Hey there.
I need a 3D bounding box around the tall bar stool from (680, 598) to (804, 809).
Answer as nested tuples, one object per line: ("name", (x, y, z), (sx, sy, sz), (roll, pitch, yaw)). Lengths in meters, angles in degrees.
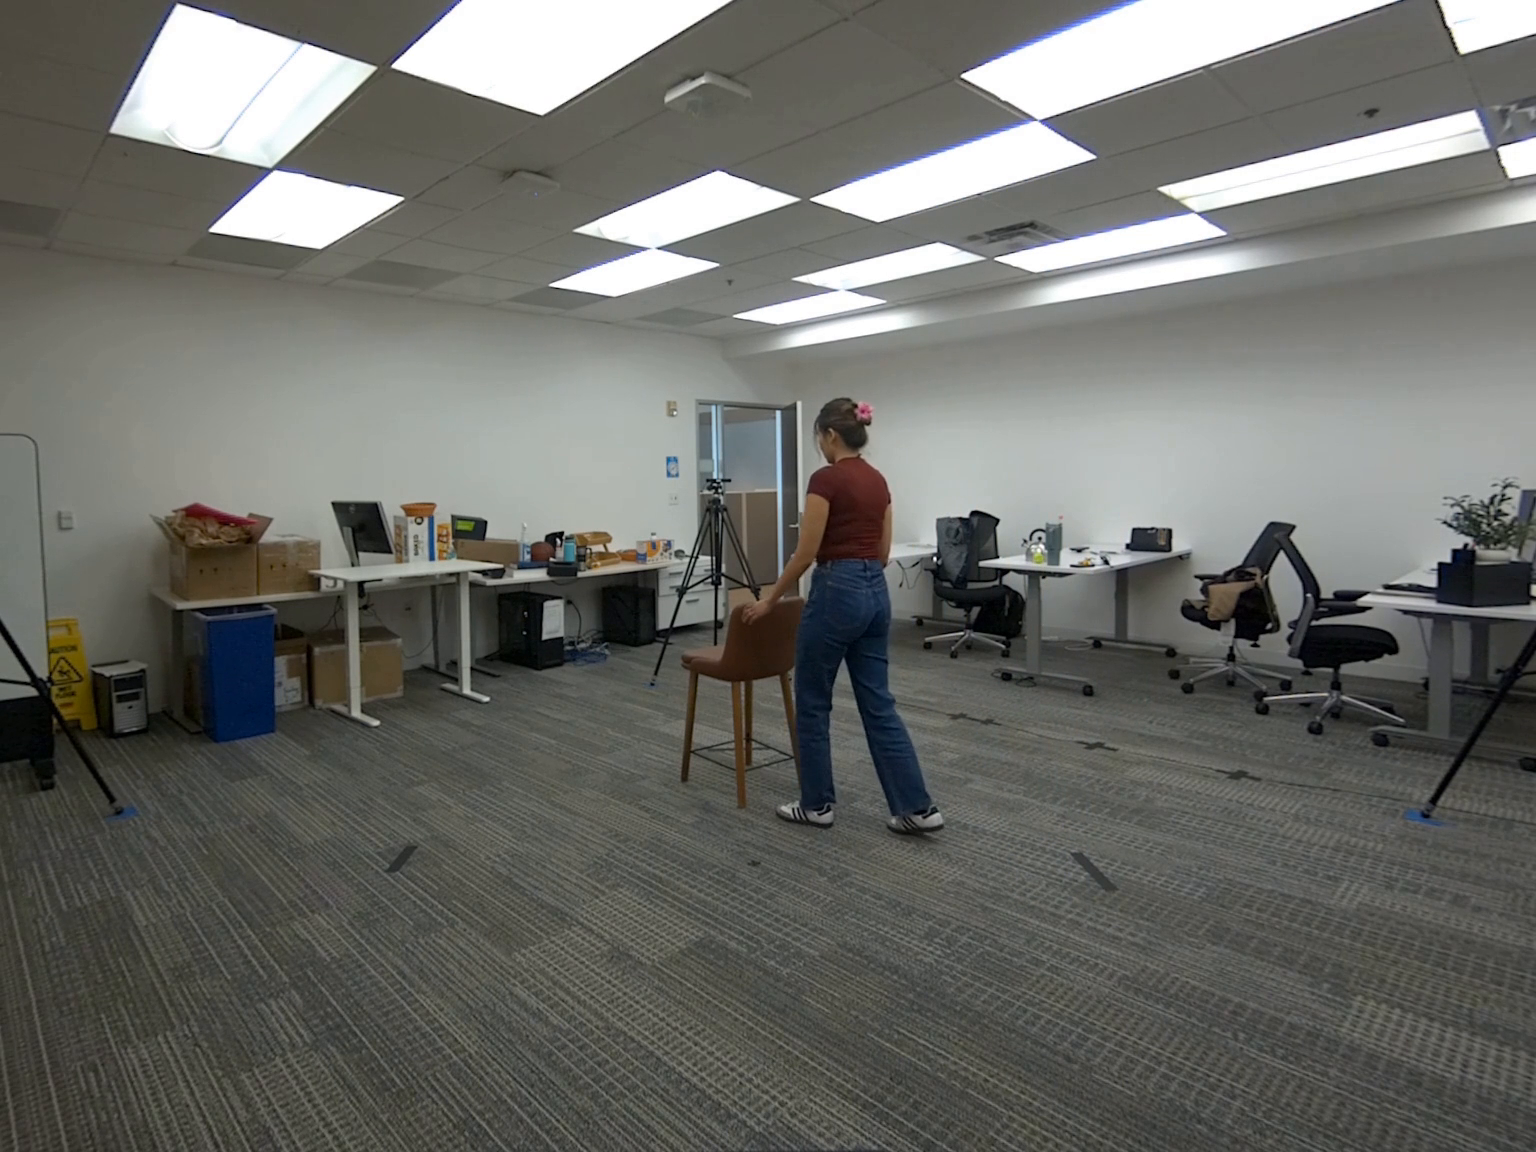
("tall bar stool", (-0.109, 0.520, 3.877), (0.444, 0.885, 0.482), (-3, 7, -38))
